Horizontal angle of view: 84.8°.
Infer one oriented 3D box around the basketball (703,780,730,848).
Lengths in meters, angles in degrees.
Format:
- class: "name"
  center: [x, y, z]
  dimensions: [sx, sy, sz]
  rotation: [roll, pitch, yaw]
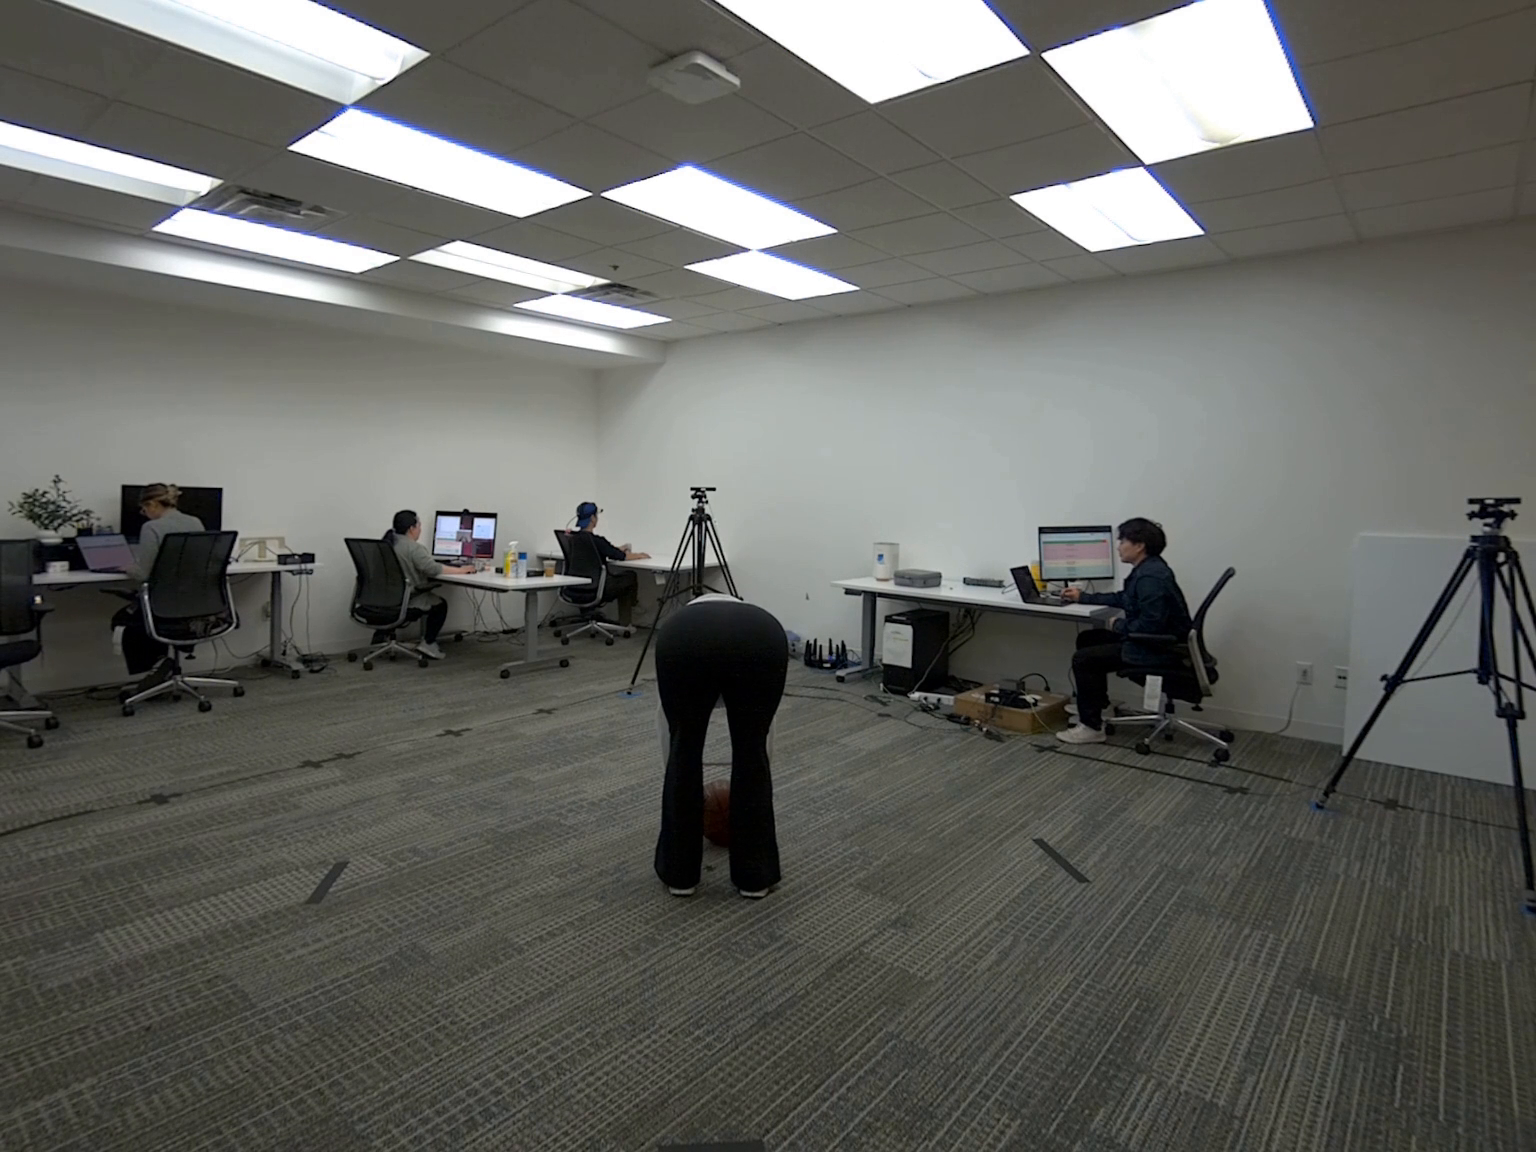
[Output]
- class: "basketball"
  center: [-0.200, 0.909, 3.351]
  dimensions: [0.235, 0.235, 0.237]
  rotation: [1, 4, -2]
